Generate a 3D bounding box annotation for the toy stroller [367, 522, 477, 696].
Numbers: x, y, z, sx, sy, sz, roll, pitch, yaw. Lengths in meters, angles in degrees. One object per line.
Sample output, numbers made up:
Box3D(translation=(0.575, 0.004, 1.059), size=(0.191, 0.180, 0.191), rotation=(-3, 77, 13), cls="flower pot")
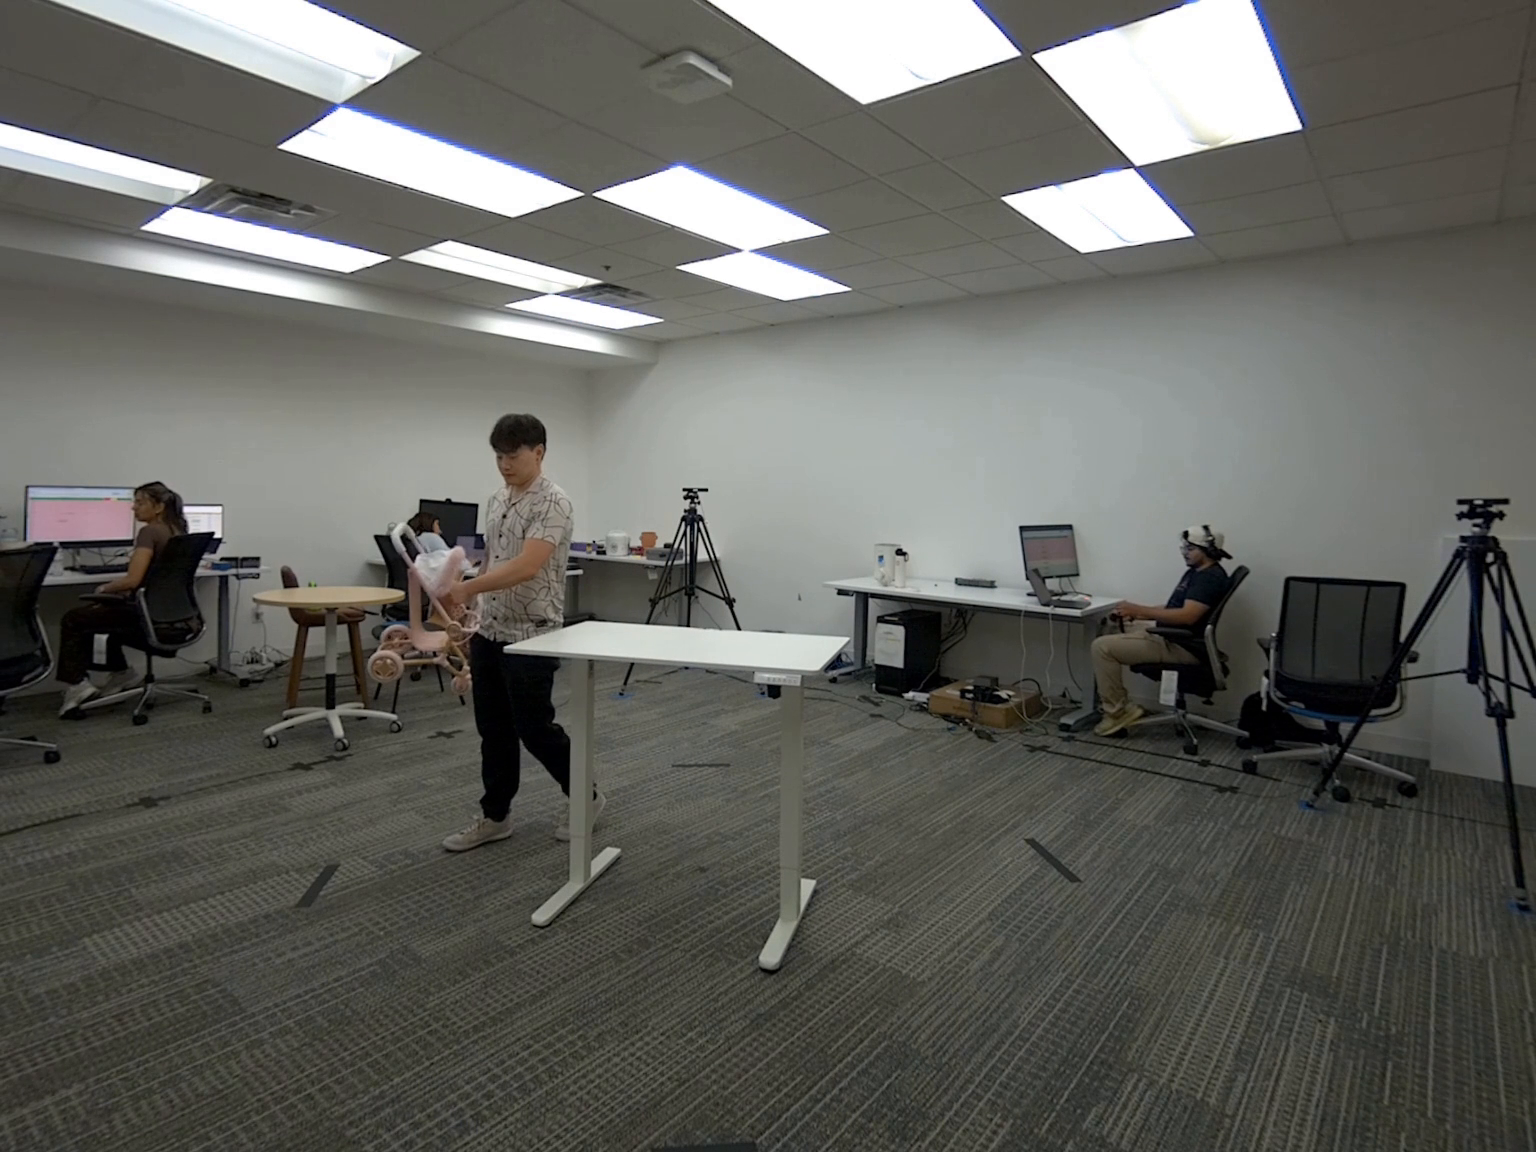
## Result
Box3D(translation=(-1.120, 0.125, 2.818), size=(0.337, 0.531, 0.287), rotation=(12, 10, -11), cls="toy stroller")
